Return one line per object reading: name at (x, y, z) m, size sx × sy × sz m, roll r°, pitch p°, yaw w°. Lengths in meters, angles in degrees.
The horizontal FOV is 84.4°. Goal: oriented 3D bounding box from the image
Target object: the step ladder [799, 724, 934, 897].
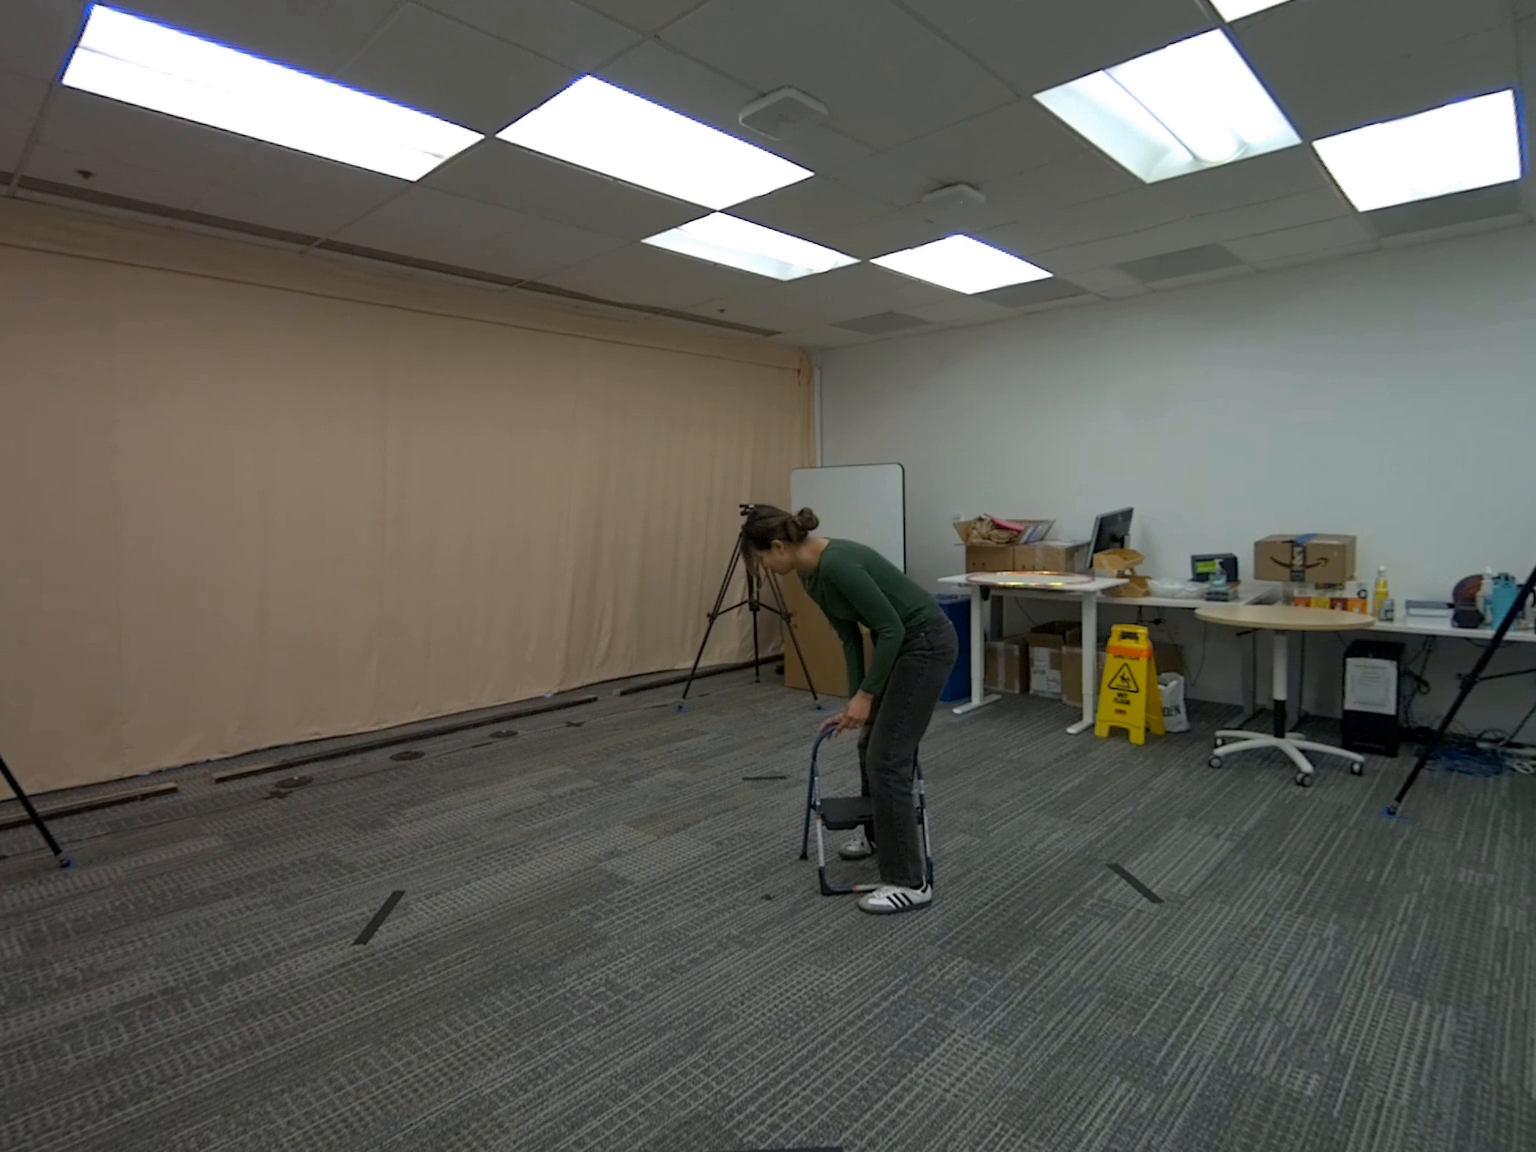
step ladder at (0.359, 0.816, 3.155) m, size 0.427 × 0.604 × 0.353 m, roll 0°, pitch 4°, yaw -8°
